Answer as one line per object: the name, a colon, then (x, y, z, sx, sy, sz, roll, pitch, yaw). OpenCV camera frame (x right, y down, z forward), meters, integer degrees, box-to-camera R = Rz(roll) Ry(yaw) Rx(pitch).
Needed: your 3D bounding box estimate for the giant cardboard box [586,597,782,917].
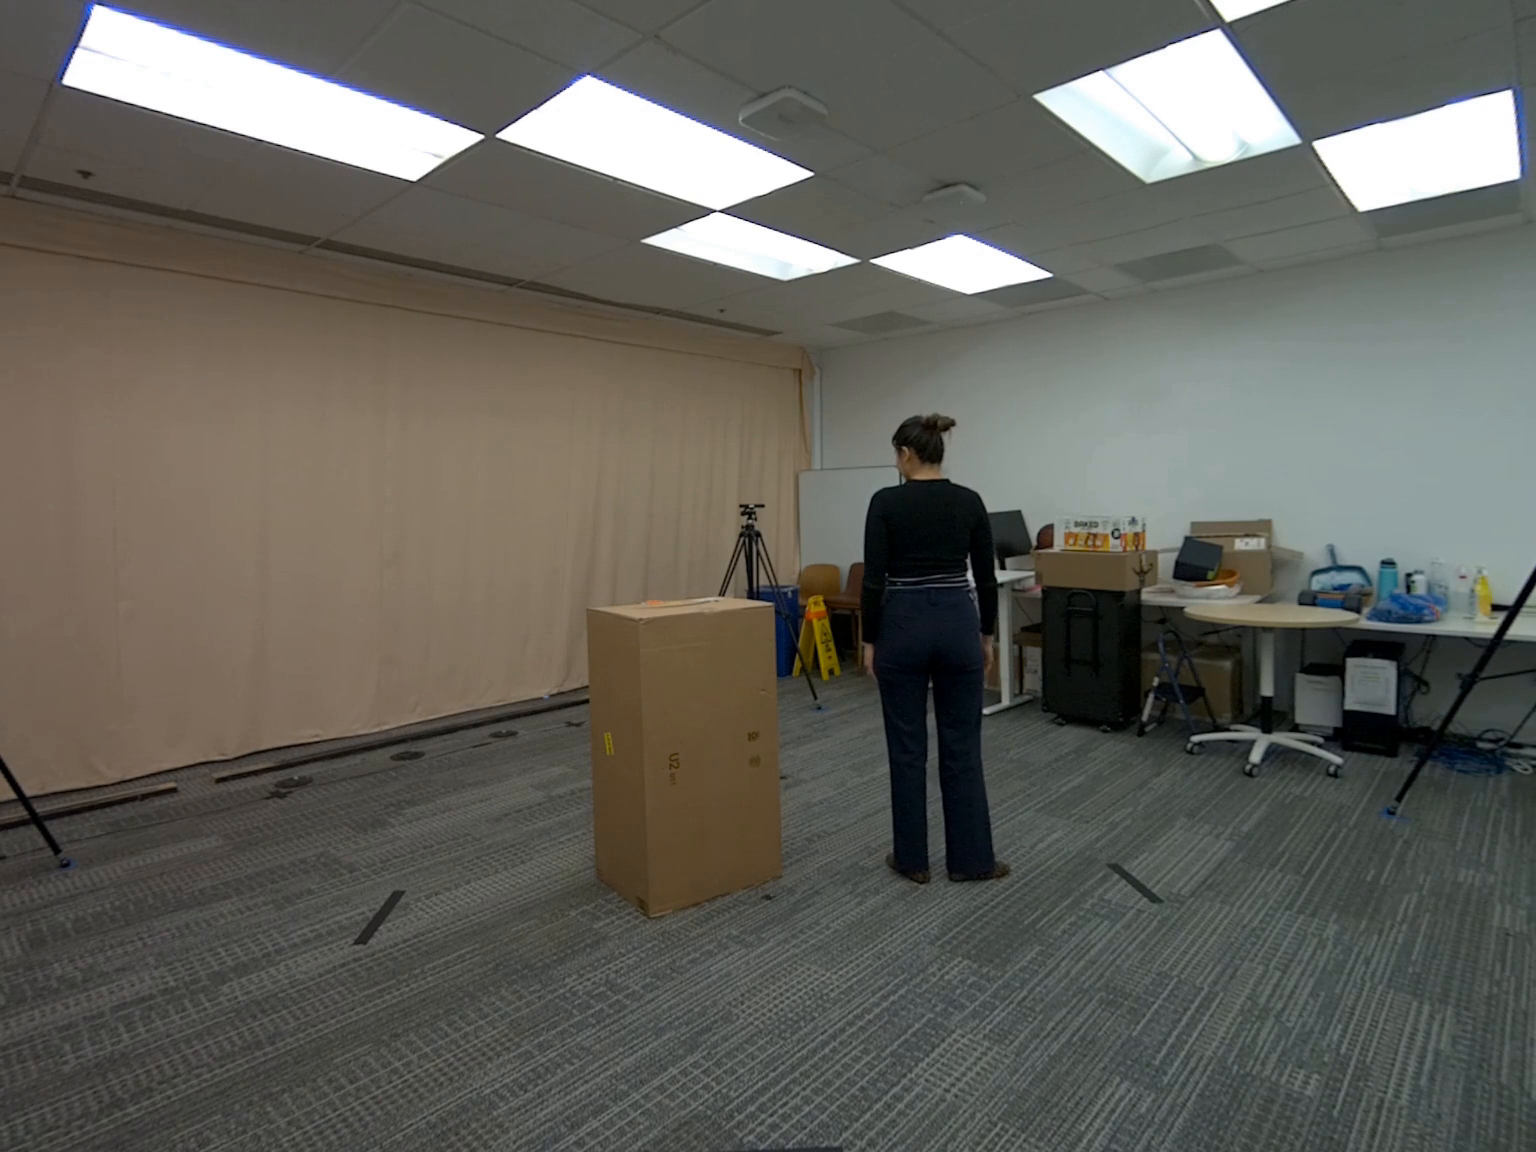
giant cardboard box: (-0.314, 0.624, 3.147, 0.561, 1.024, 0.439, -4, 4, -36)
